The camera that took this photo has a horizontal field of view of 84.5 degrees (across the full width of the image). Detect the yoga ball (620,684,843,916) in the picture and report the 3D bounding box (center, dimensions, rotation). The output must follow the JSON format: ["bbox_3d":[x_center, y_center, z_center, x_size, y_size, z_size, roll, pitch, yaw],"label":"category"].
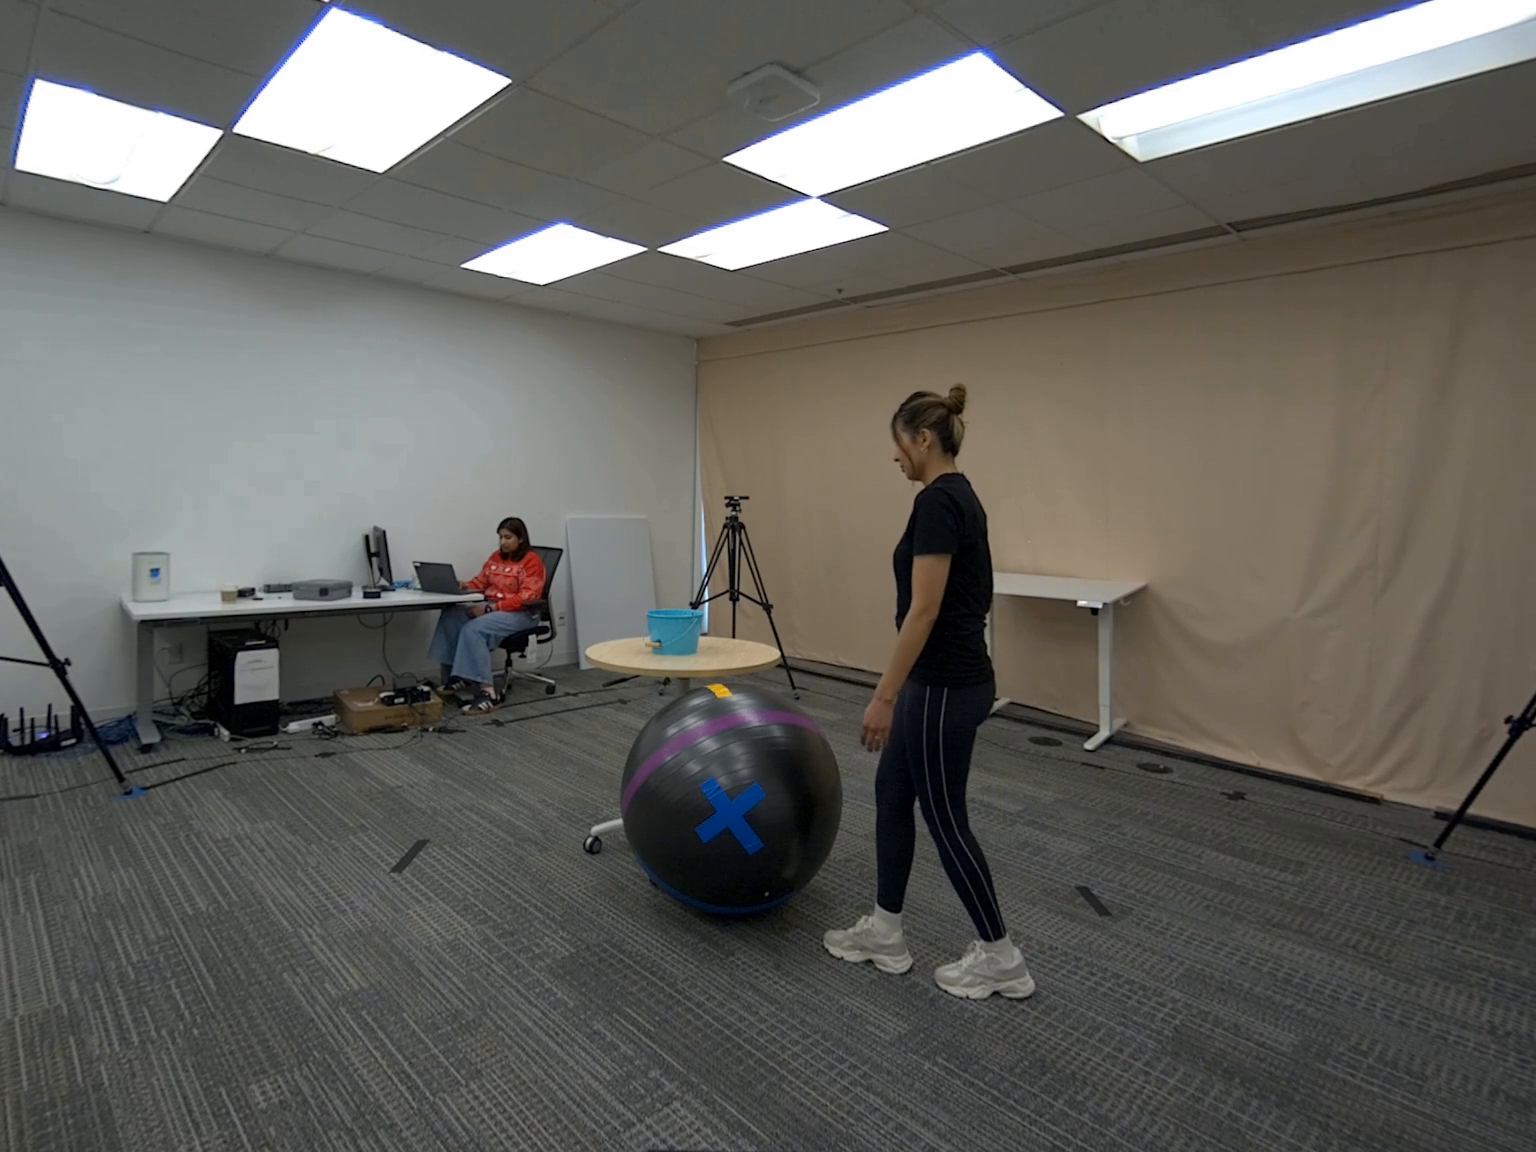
[{"bbox_3d":[-0.131,0.753,2.878,0.757,0.756,0.761,1,4,-1],"label":"yoga ball"}]
